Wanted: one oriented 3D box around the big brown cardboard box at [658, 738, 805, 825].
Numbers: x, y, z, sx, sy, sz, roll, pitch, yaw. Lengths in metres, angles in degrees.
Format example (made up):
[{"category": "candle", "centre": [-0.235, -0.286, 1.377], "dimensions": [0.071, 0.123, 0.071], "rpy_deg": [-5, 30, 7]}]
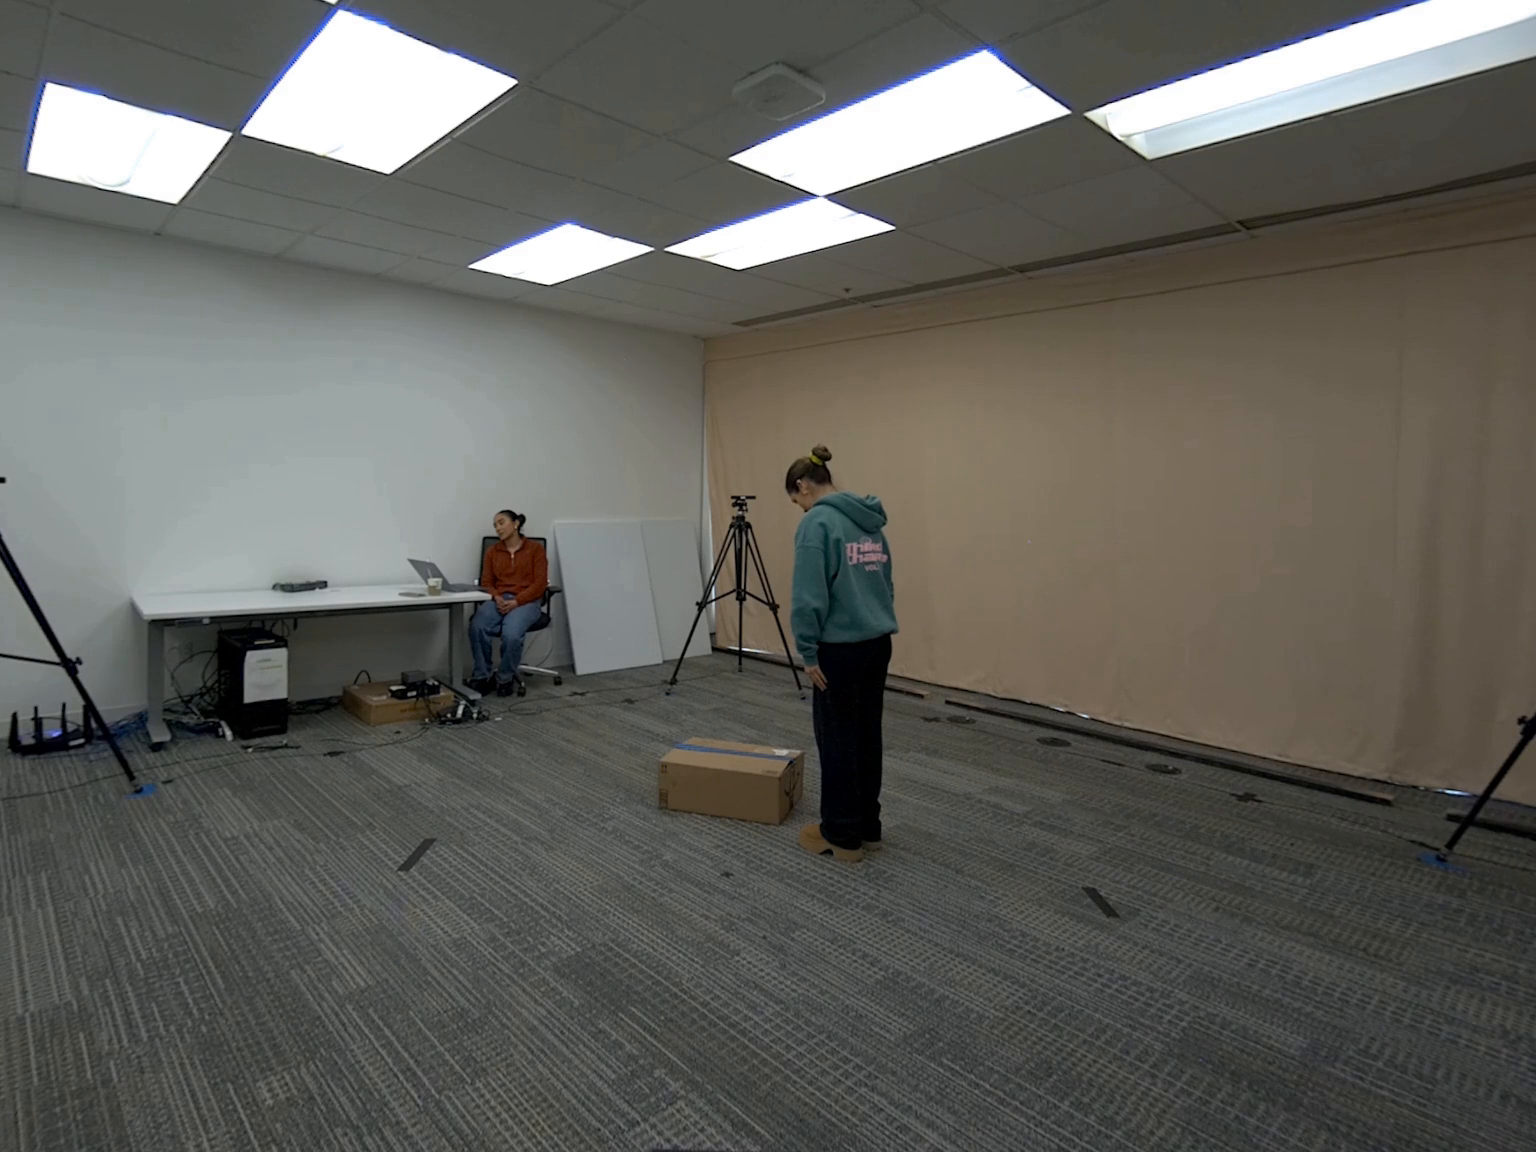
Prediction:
[{"category": "big brown cardboard box", "centre": [-0.167, 0.920, 3.852], "dimensions": [0.597, 0.232, 0.413], "rpy_deg": [2, 5, 17]}]
